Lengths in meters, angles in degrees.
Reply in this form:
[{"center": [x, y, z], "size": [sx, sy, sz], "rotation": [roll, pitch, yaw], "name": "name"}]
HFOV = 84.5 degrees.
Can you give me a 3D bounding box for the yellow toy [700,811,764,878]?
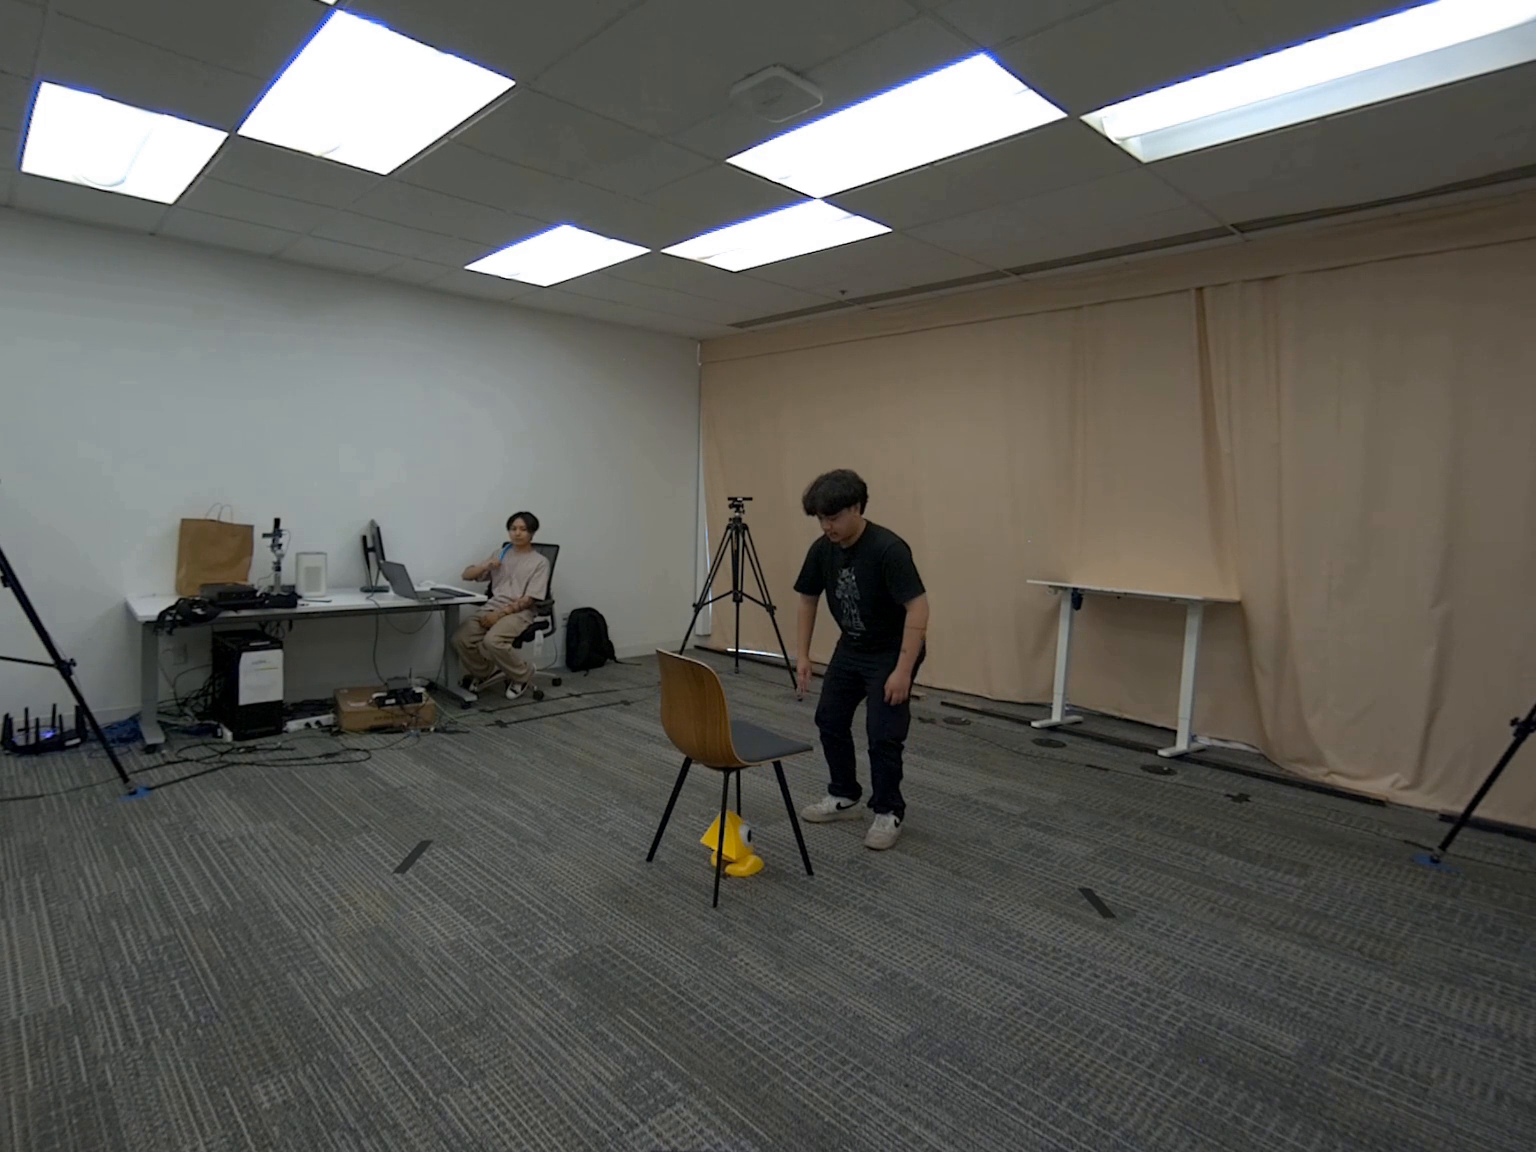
[{"center": [-0.130, 0.988, 3.198], "size": [0.188, 0.230, 0.210], "rotation": [-1, 5, -42], "name": "yellow toy"}]
